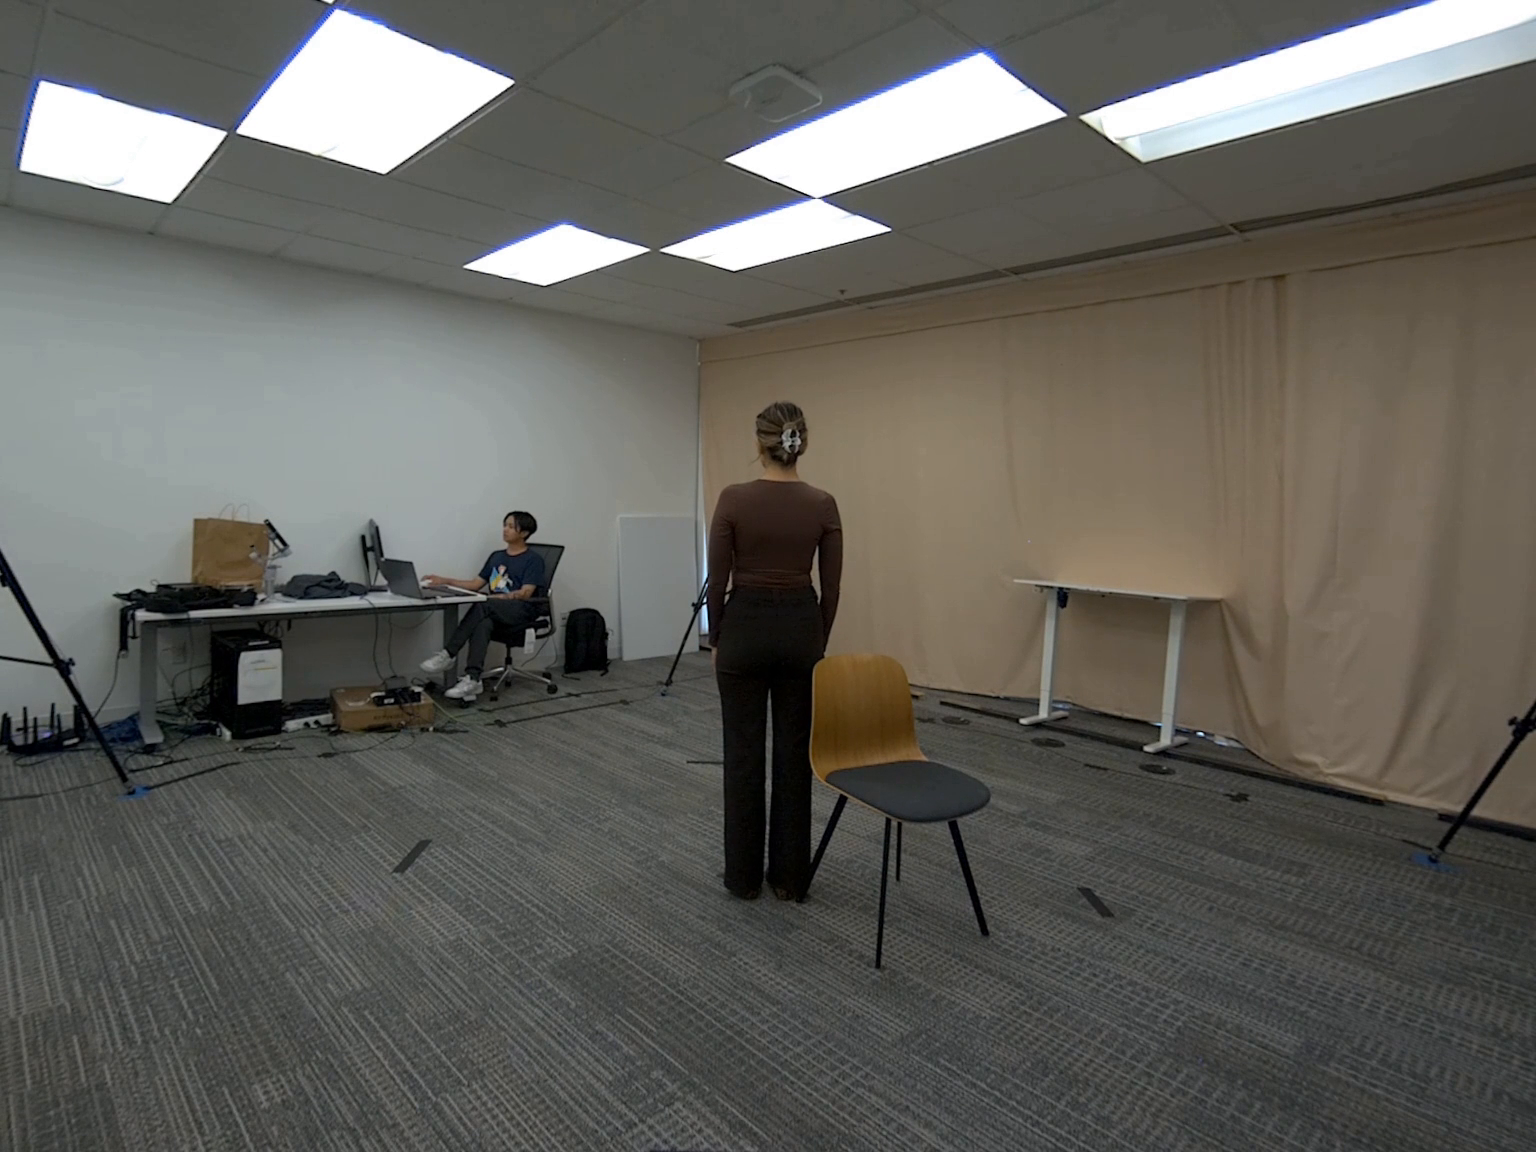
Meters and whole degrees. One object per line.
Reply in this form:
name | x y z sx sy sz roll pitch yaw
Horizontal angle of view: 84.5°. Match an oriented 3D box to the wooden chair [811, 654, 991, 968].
wooden chair | 0.418 0.725 2.776 0.468 0.878 0.533 0 -1 -29
